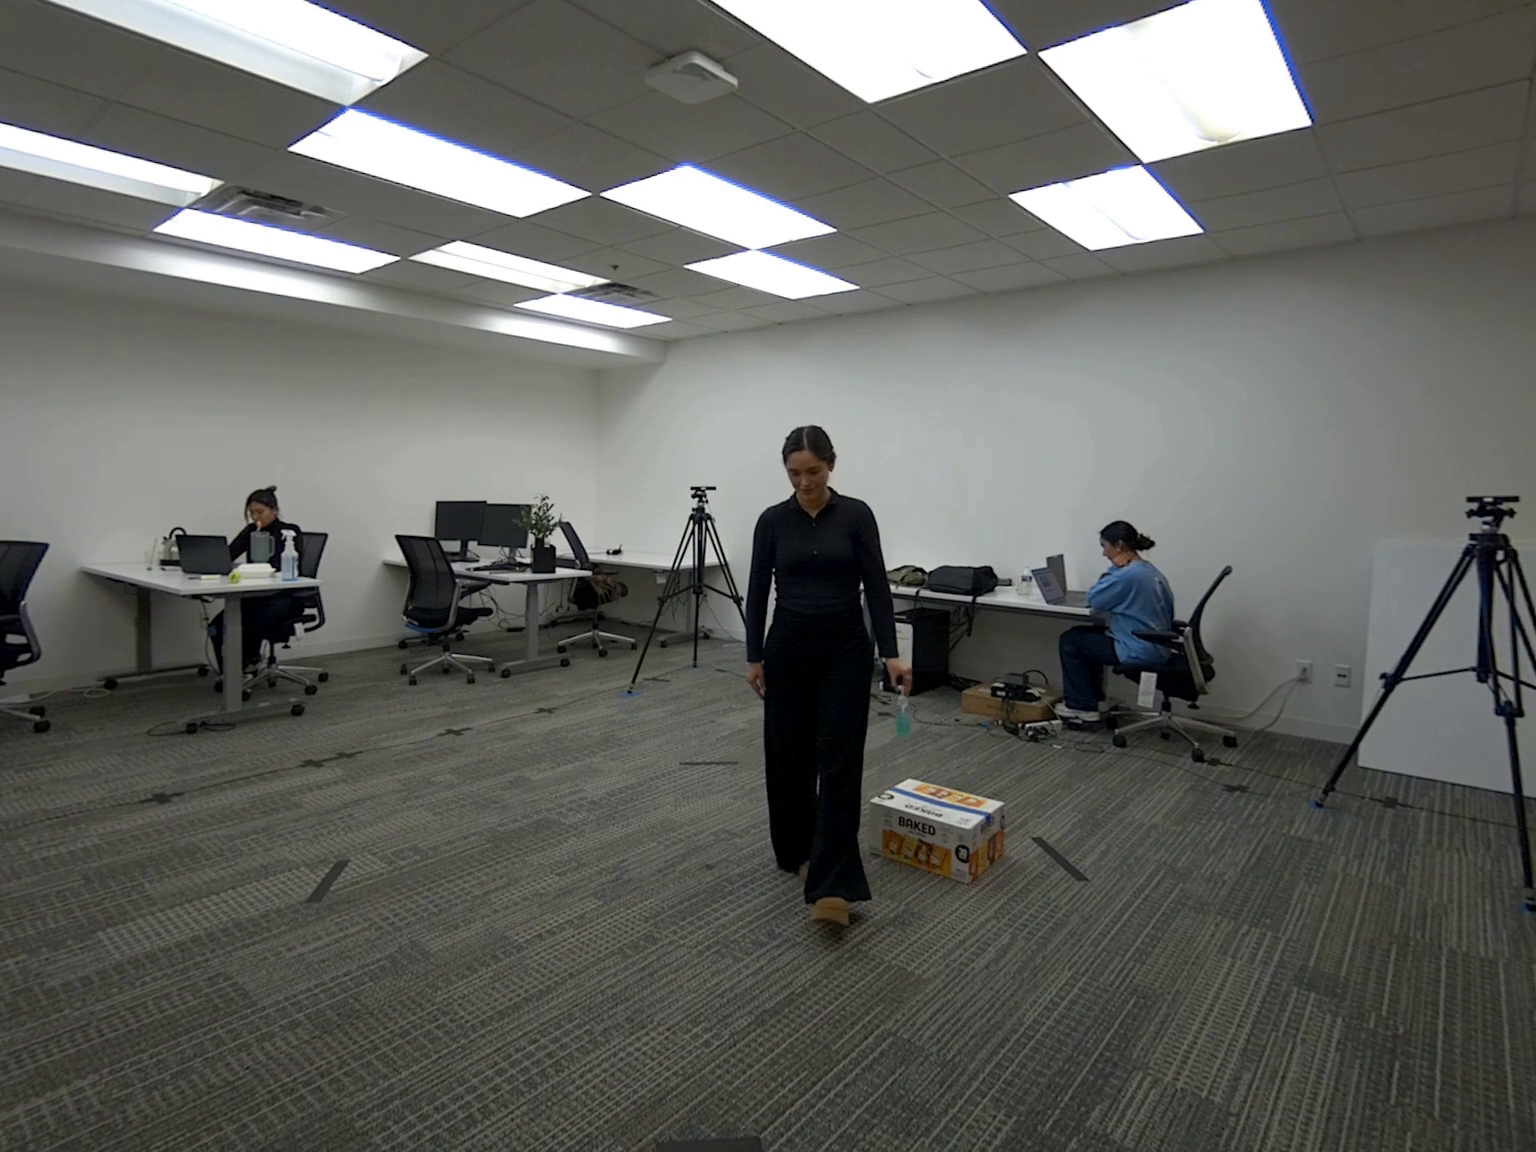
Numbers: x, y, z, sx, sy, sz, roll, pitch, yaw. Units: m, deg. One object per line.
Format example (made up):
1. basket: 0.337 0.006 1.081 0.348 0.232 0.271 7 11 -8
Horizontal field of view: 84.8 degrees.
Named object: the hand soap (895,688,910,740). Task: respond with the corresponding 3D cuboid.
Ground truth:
1. hand soap: 0.443 0.452 2.806 0.043 0.168 0.085 -1 2 -2
